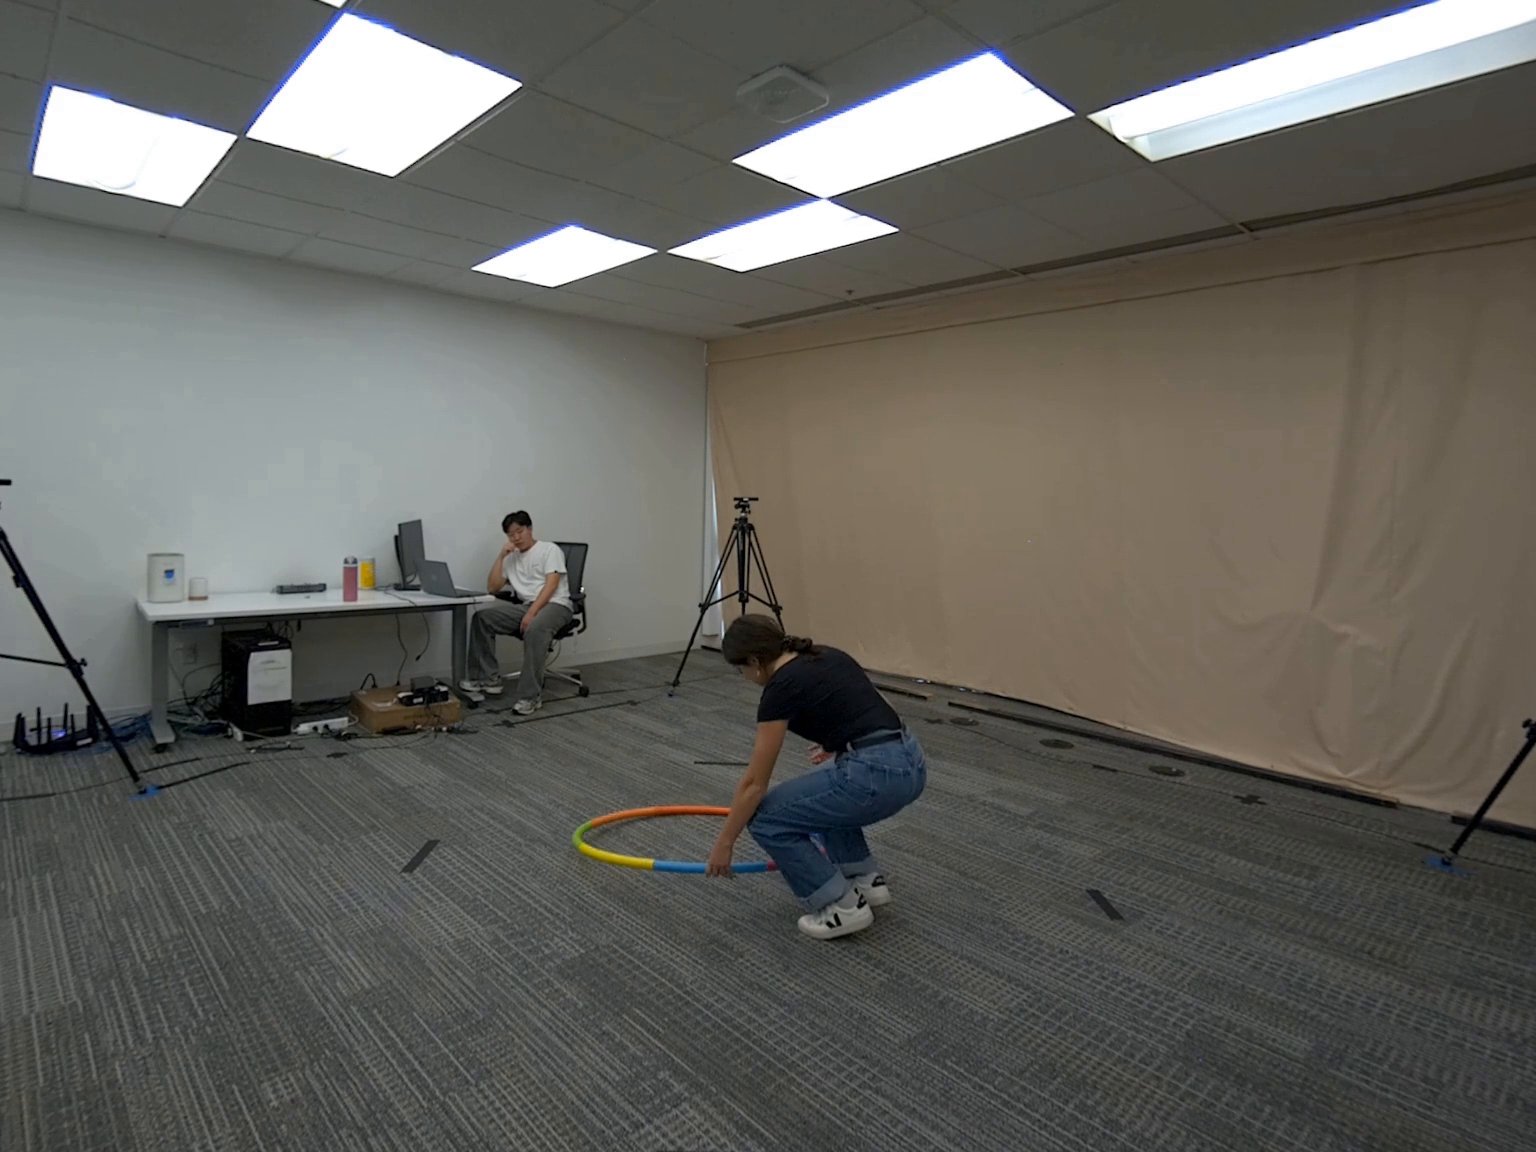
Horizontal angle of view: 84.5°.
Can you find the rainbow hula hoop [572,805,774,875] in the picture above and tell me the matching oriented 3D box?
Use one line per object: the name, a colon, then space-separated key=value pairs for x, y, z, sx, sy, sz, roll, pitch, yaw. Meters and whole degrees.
rainbow hula hoop: x=-0.263 y=1.001 z=3.239 sx=0.978 sy=0.036 sz=0.975 roll=2 pitch=-4 yaw=-1
